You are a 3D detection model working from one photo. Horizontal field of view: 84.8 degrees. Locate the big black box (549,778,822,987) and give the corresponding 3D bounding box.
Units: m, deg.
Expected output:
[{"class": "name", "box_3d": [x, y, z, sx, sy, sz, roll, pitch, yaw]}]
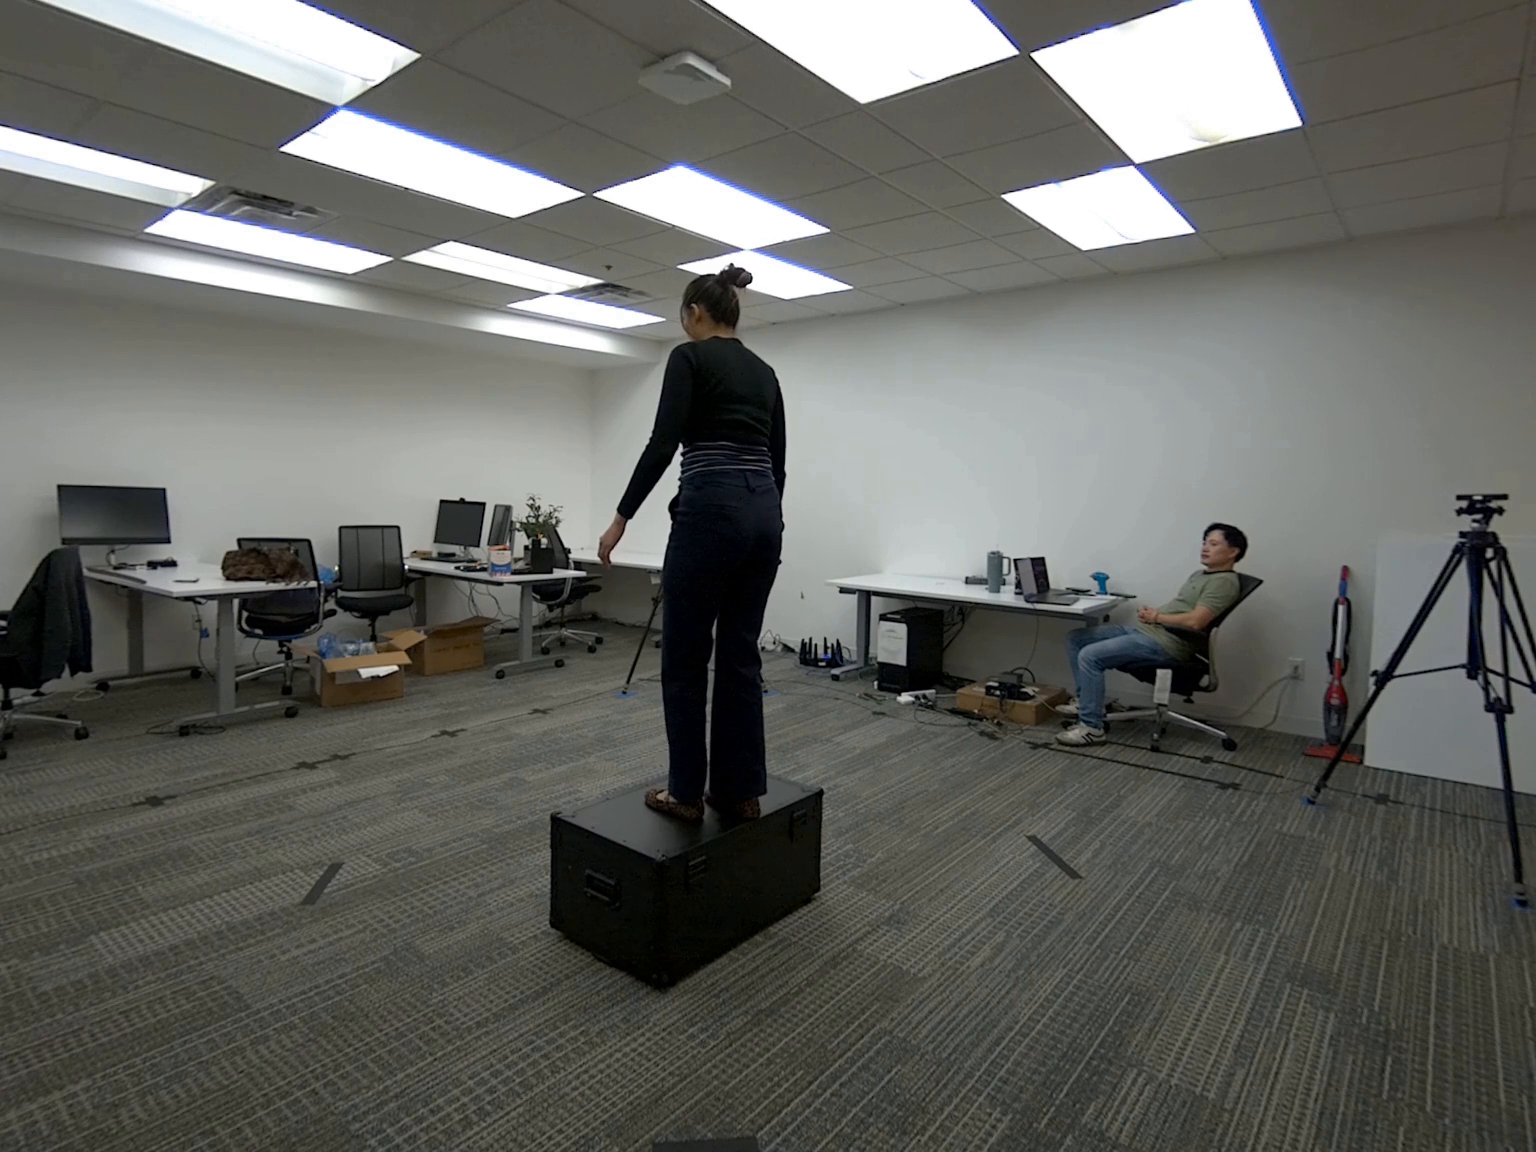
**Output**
[{"class": "big black box", "box_3d": [-0.272, 0.911, 2.735, 0.539, 0.395, 0.836, 5, 6, 39]}]
